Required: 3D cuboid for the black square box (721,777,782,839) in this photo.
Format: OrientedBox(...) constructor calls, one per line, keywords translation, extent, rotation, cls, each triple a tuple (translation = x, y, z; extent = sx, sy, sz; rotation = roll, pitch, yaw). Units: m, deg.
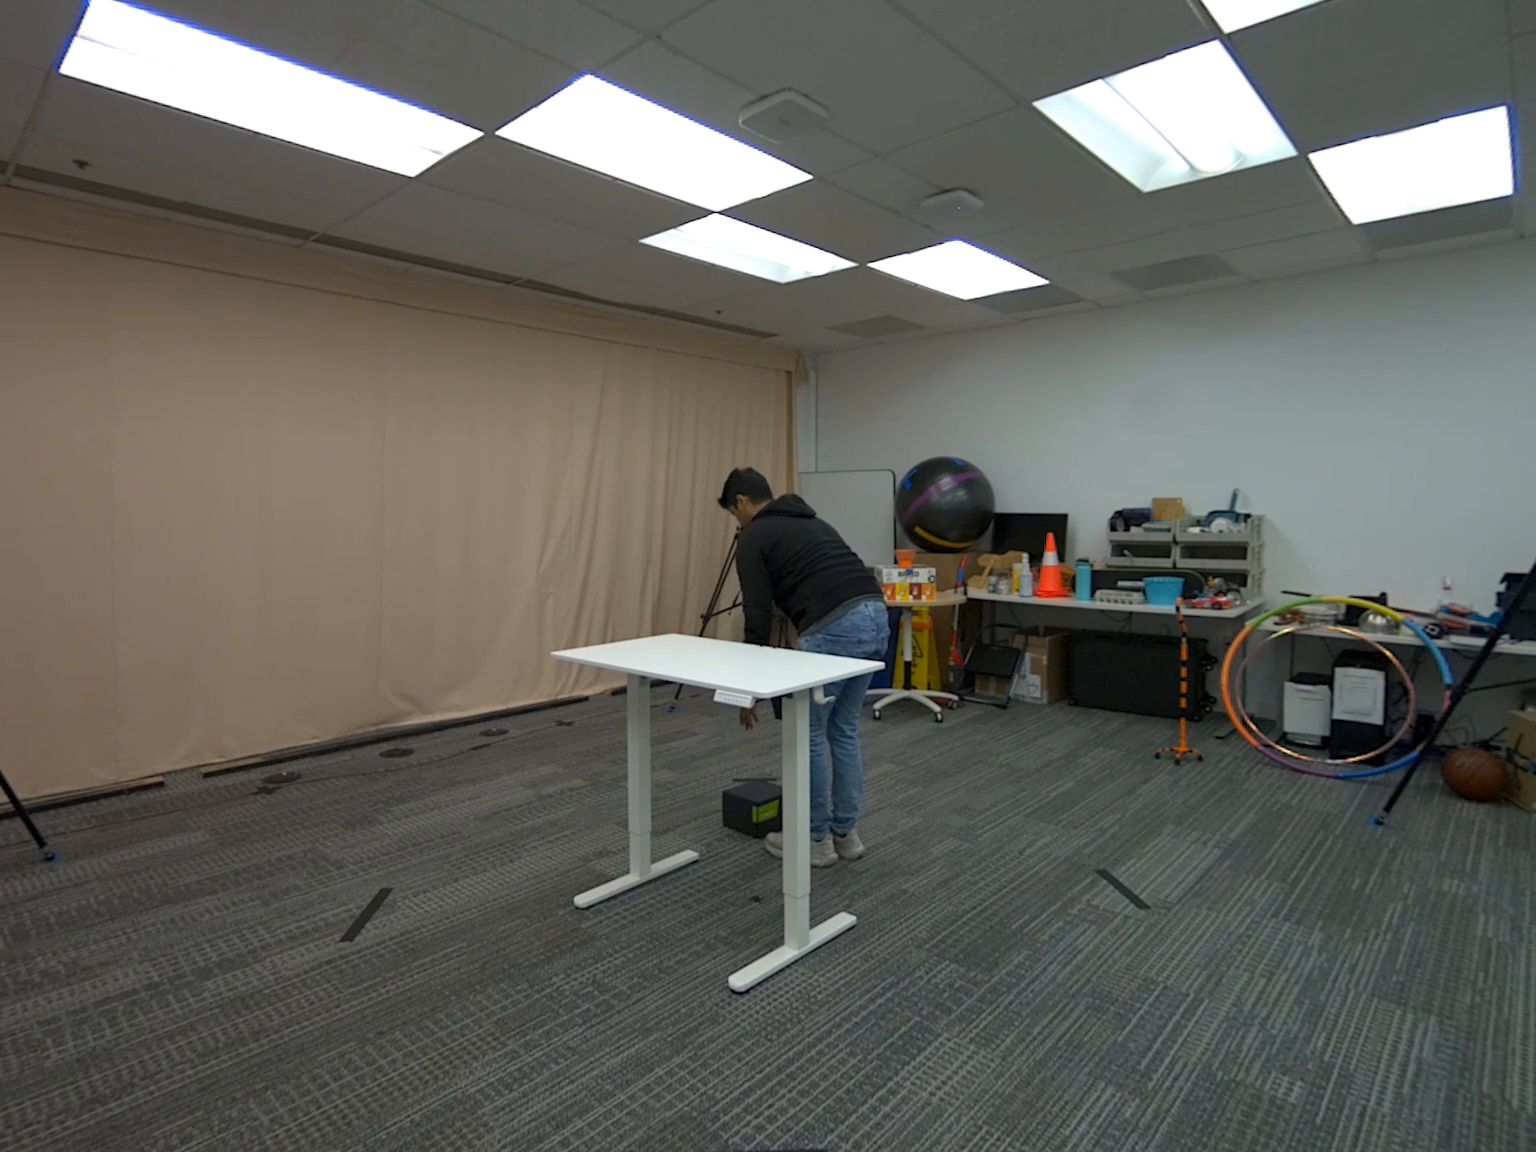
OrientedBox(translation=(-0.042, 1.002, 3.655), extent=(0.224, 0.155, 0.221), rotation=(3, 5, 45), cls="black square box")
